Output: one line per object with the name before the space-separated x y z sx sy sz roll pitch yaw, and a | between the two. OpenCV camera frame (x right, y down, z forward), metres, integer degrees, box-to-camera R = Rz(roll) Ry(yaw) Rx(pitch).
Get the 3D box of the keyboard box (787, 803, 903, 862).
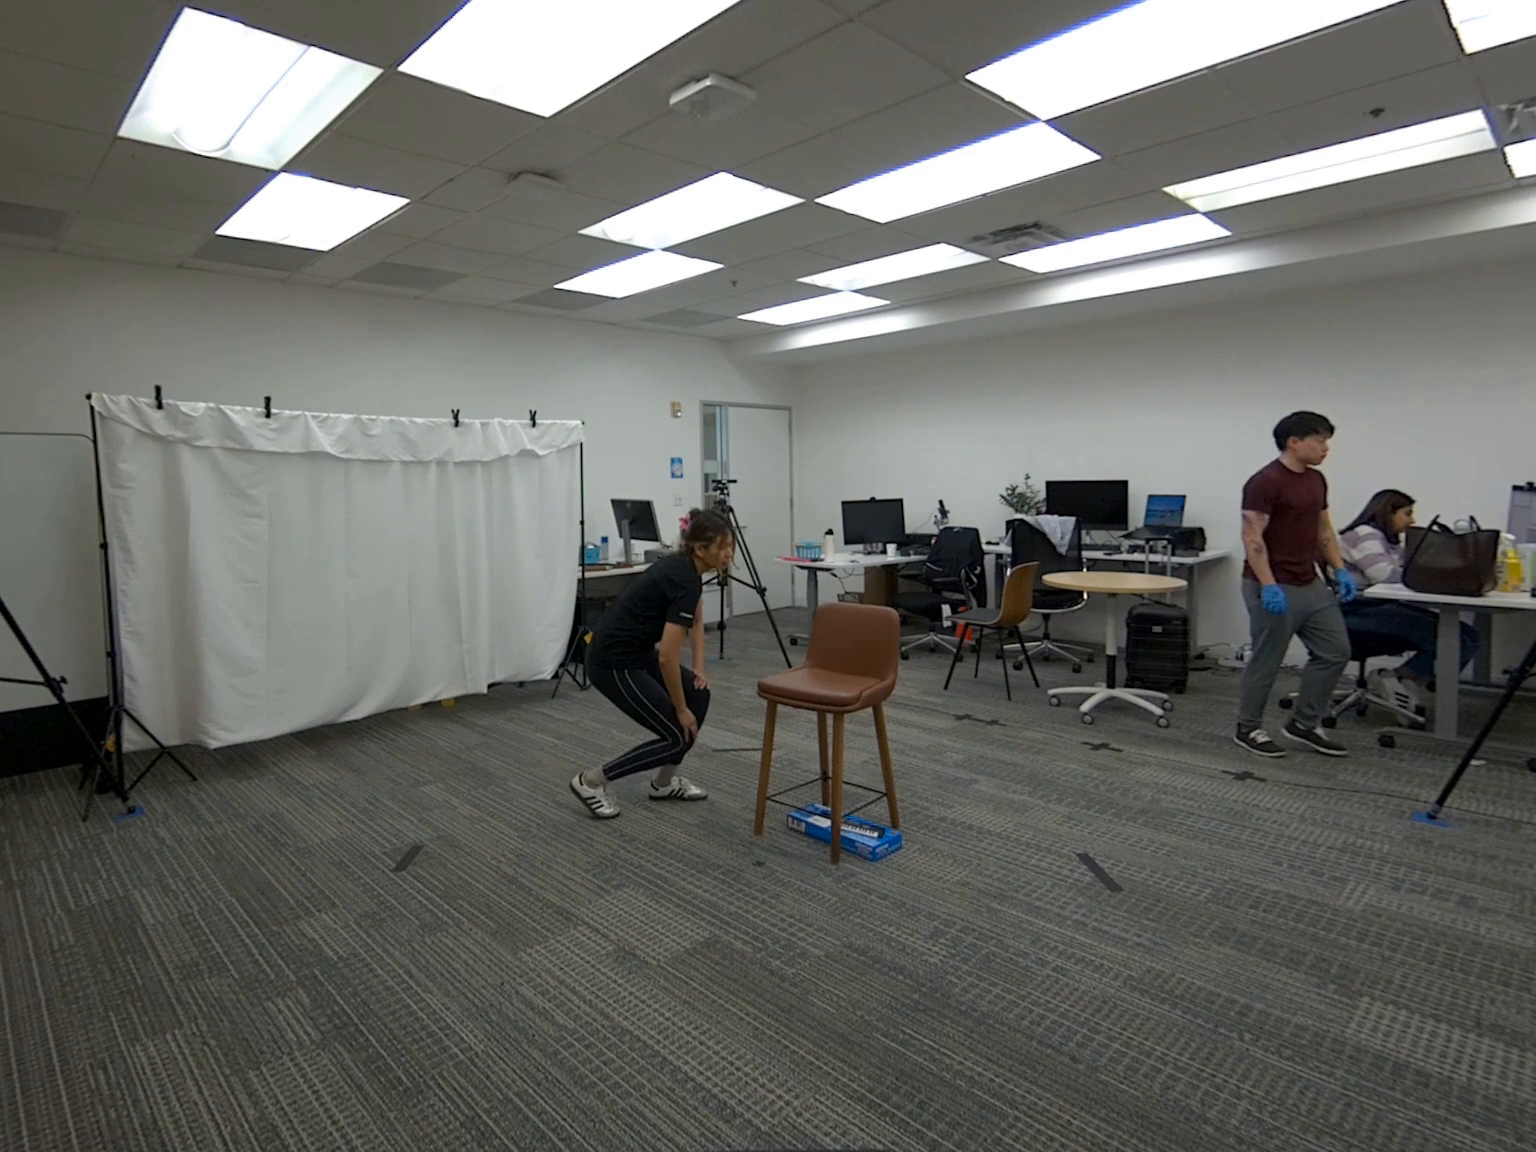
keyboard box | 0.289 0.982 3.313 0.171 0.059 0.450 -7 8 -44
